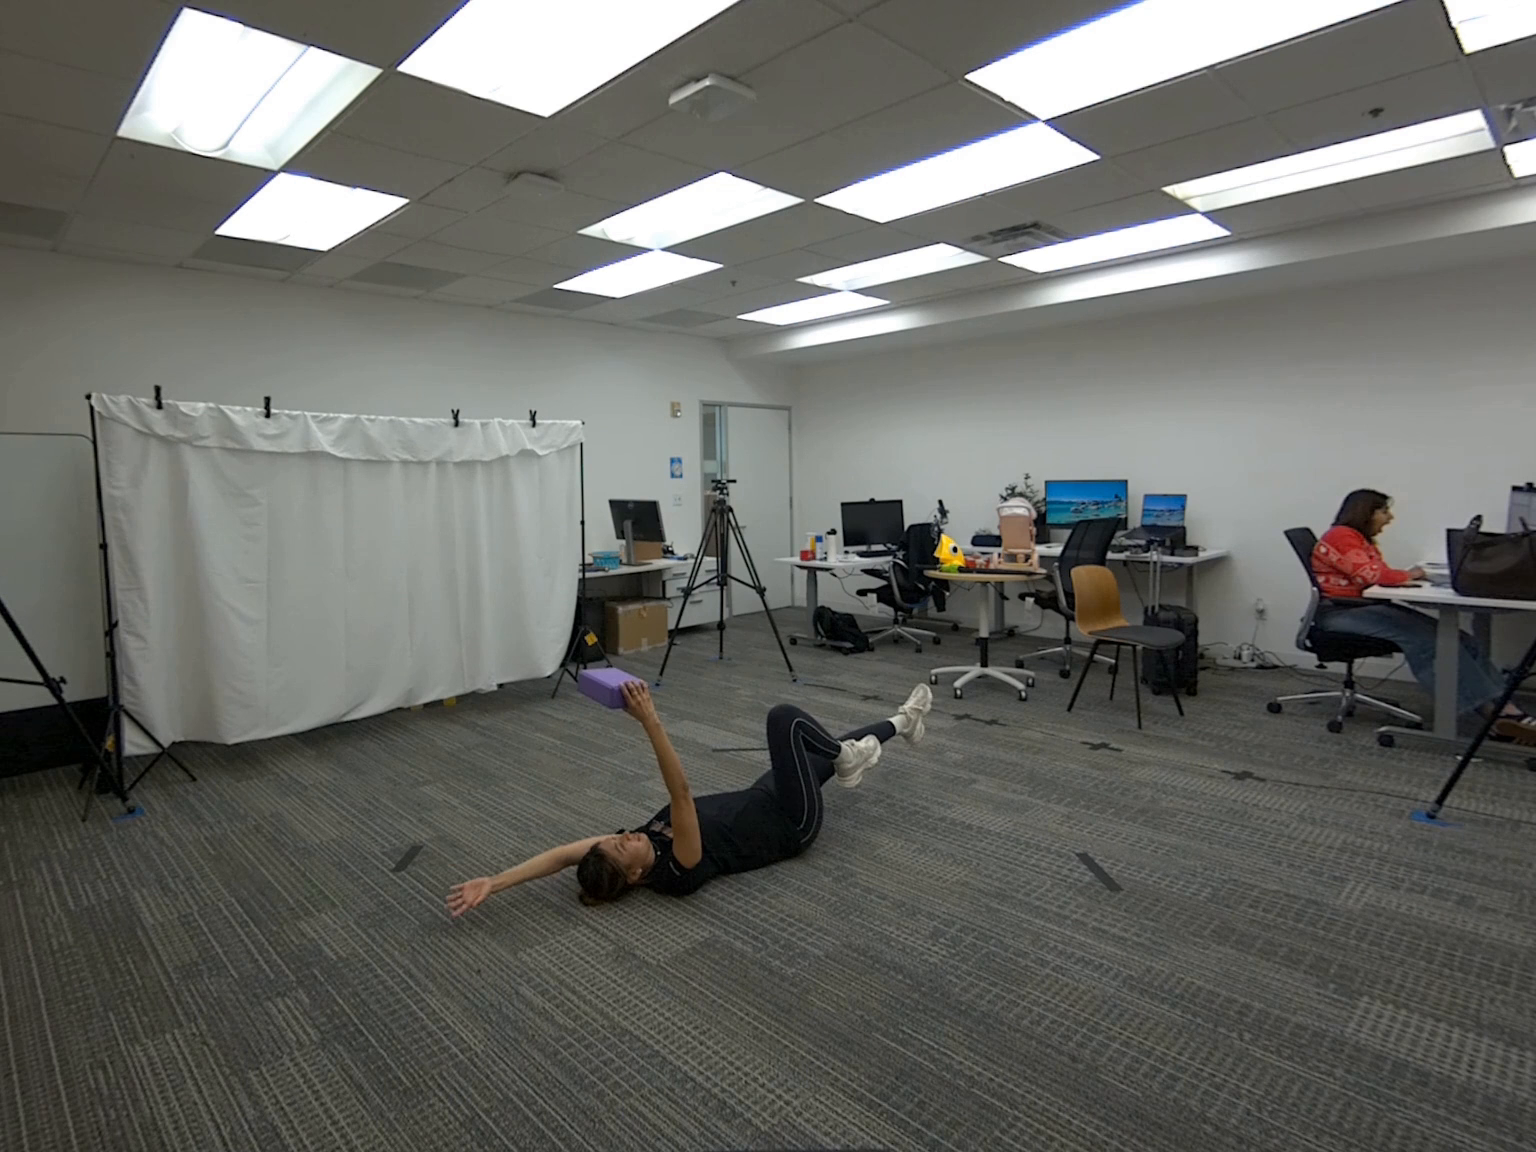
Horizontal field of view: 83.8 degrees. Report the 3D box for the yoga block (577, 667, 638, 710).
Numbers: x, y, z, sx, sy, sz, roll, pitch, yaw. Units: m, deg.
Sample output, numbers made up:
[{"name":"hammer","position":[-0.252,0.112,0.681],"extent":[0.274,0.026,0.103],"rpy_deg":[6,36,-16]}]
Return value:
[{"name":"yoga block","position":[-0.505,0.367,2.841],"extent":[0.145,0.076,0.237],"rpy_deg":[0,8,-39]}]
